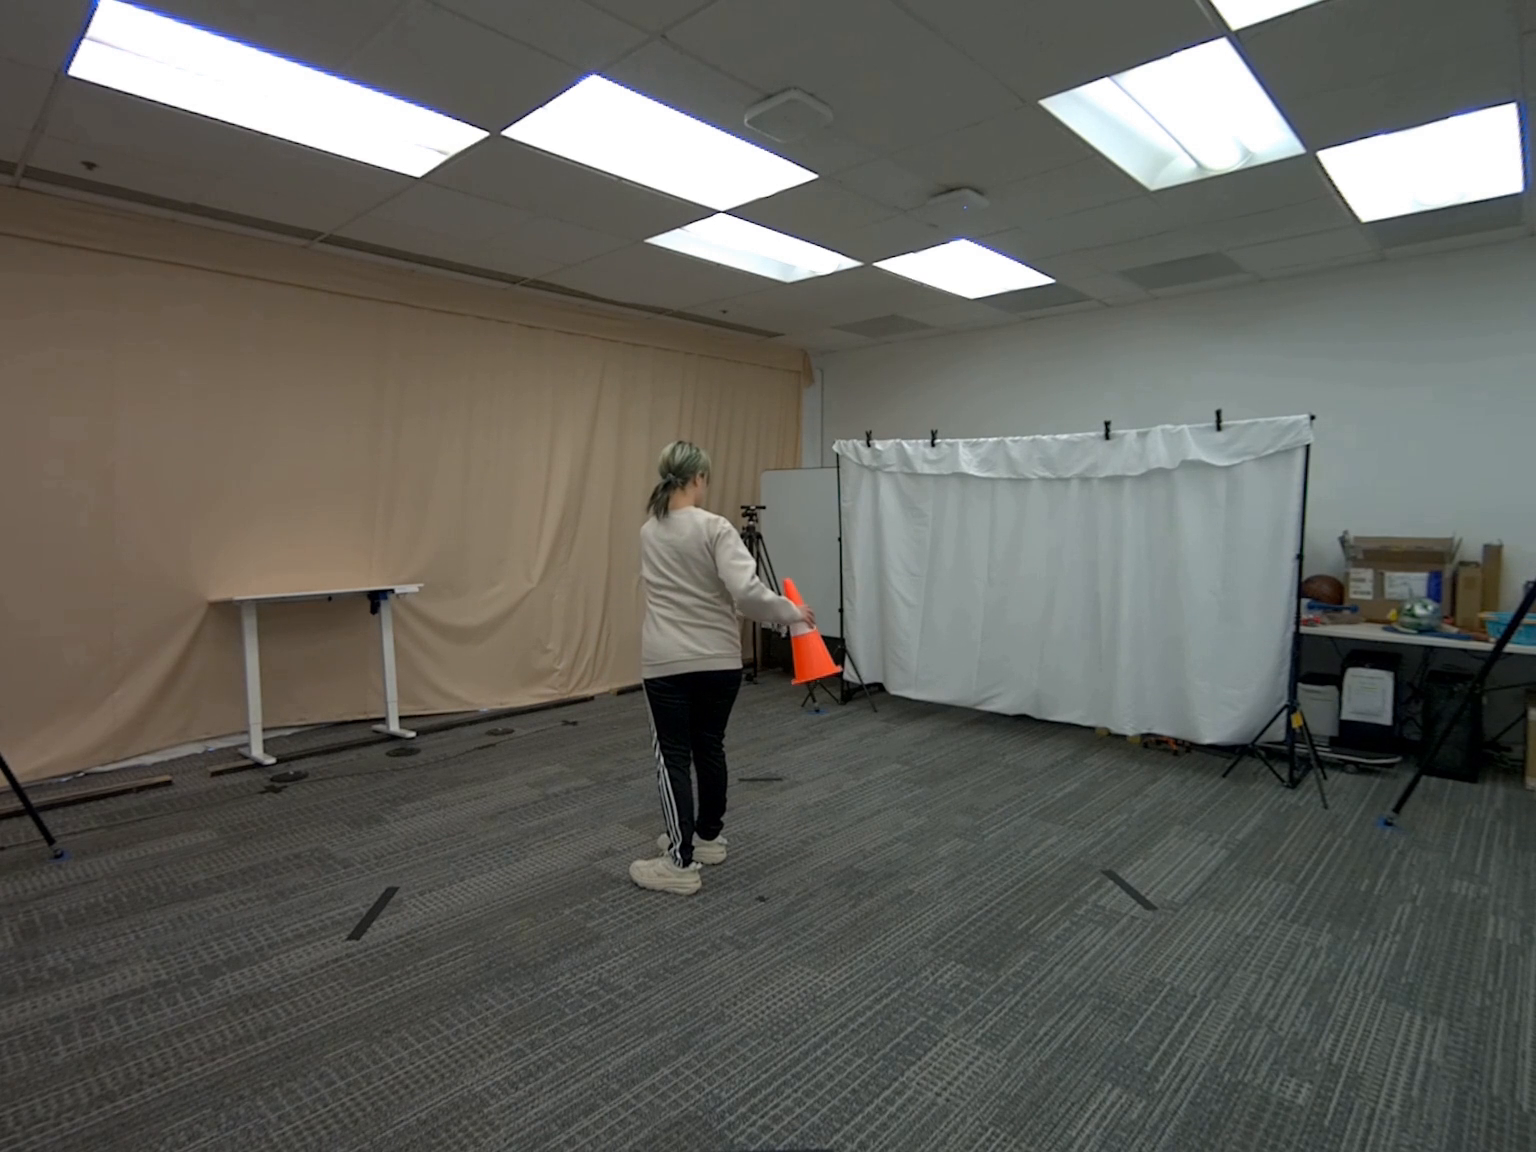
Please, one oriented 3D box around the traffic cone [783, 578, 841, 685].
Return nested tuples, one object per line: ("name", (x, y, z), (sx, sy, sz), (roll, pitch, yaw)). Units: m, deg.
("traffic cone", (0.125, 0.197, 3.199), (0.205, 0.383, 0.203), (-17, 1, 11))
